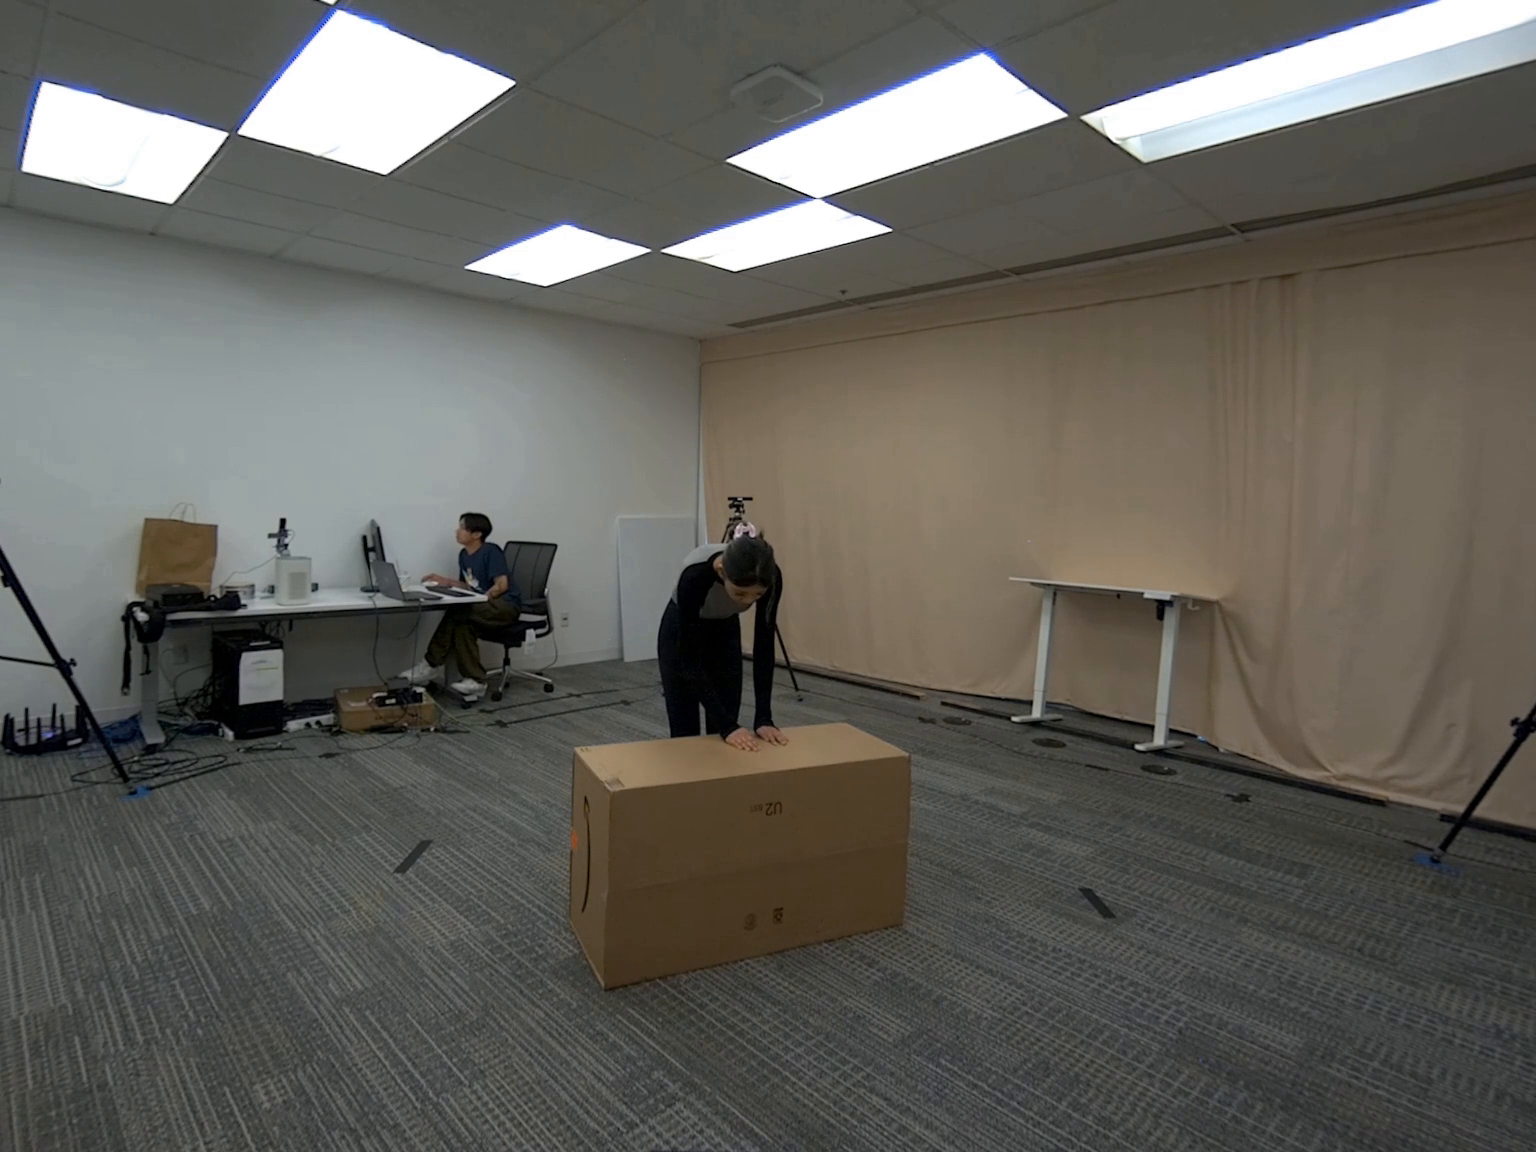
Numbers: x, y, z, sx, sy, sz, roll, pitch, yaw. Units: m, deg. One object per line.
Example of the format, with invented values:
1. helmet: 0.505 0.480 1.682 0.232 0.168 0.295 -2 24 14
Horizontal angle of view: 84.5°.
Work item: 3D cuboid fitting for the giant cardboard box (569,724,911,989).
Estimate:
1. giant cardboard box: -0.092 0.855 2.741 1.008 0.576 0.435 0 4 -24
